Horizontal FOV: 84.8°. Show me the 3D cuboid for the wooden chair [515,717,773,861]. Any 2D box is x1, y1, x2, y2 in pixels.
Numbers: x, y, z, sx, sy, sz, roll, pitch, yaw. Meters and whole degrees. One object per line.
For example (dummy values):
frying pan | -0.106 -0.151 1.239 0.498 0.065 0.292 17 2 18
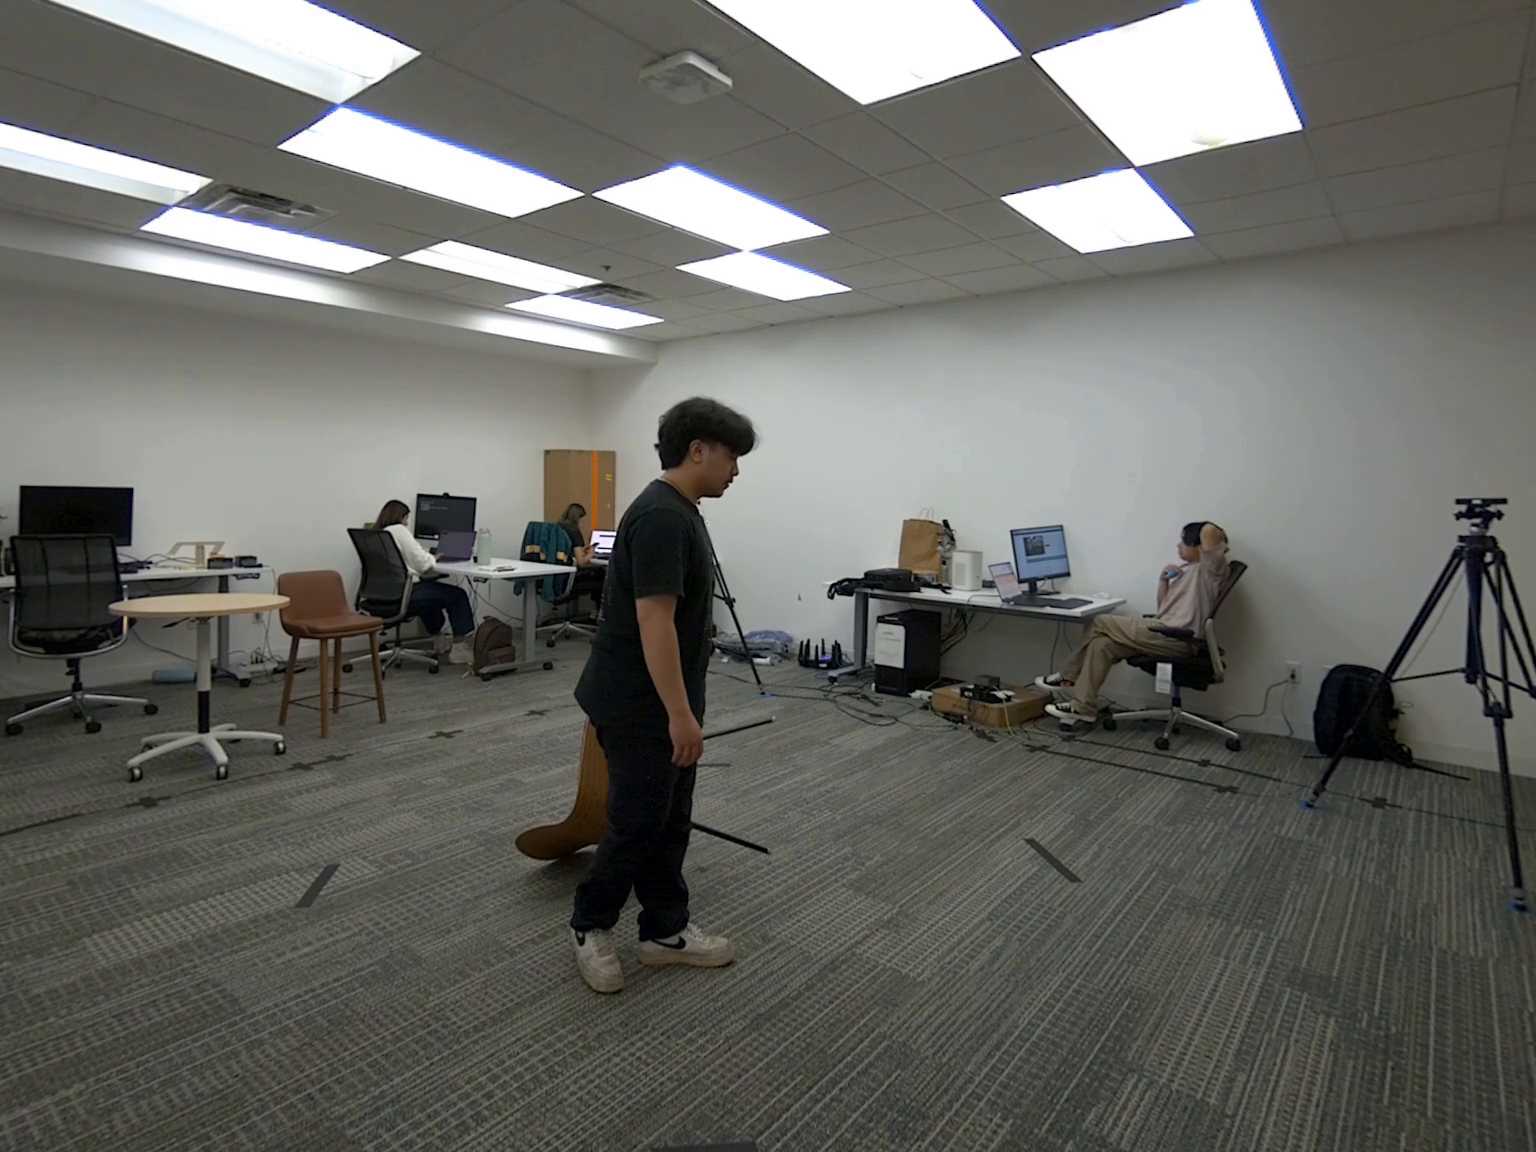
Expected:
wooden chair | -0.472 0.705 2.991 0.895 0.534 0.458 -16 -27 31
